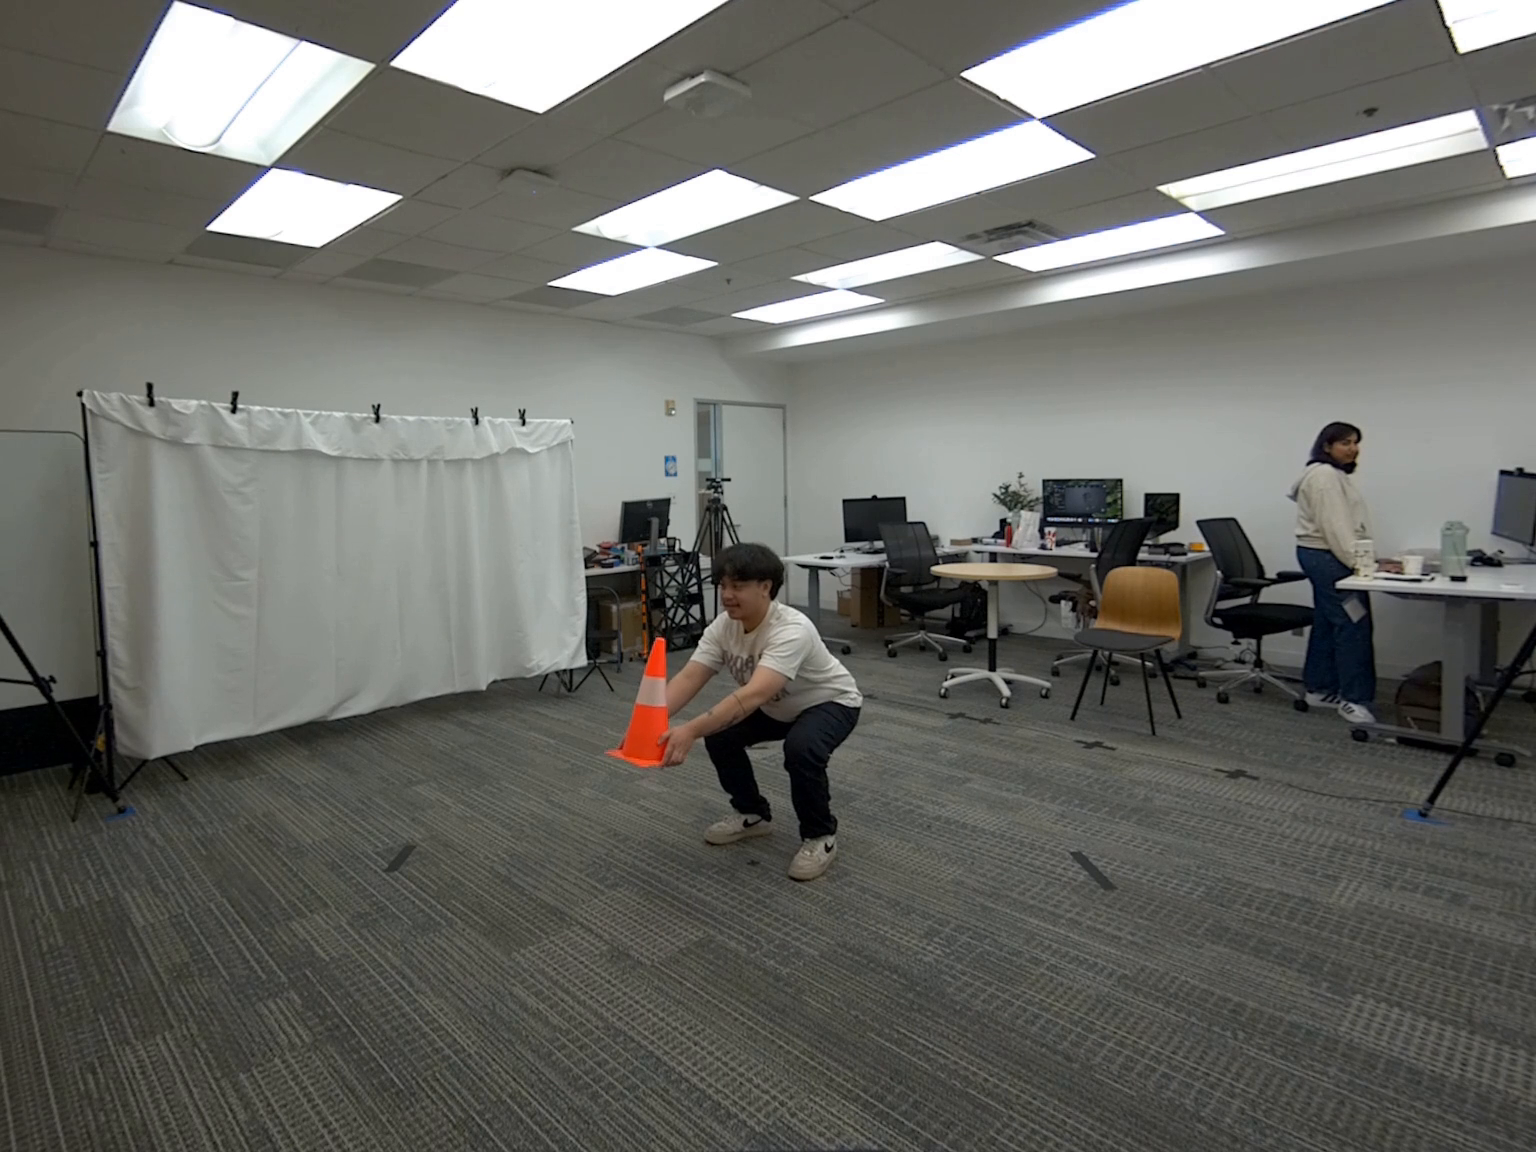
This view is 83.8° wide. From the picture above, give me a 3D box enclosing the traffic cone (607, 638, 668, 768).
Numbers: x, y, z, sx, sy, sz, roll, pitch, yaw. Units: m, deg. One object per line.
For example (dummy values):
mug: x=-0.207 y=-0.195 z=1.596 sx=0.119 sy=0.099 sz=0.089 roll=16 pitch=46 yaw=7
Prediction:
traffic cone: x=-0.370 y=0.382 z=2.753 sx=0.211 sy=0.384 sz=0.197 roll=4 pitch=-2 yaw=33
